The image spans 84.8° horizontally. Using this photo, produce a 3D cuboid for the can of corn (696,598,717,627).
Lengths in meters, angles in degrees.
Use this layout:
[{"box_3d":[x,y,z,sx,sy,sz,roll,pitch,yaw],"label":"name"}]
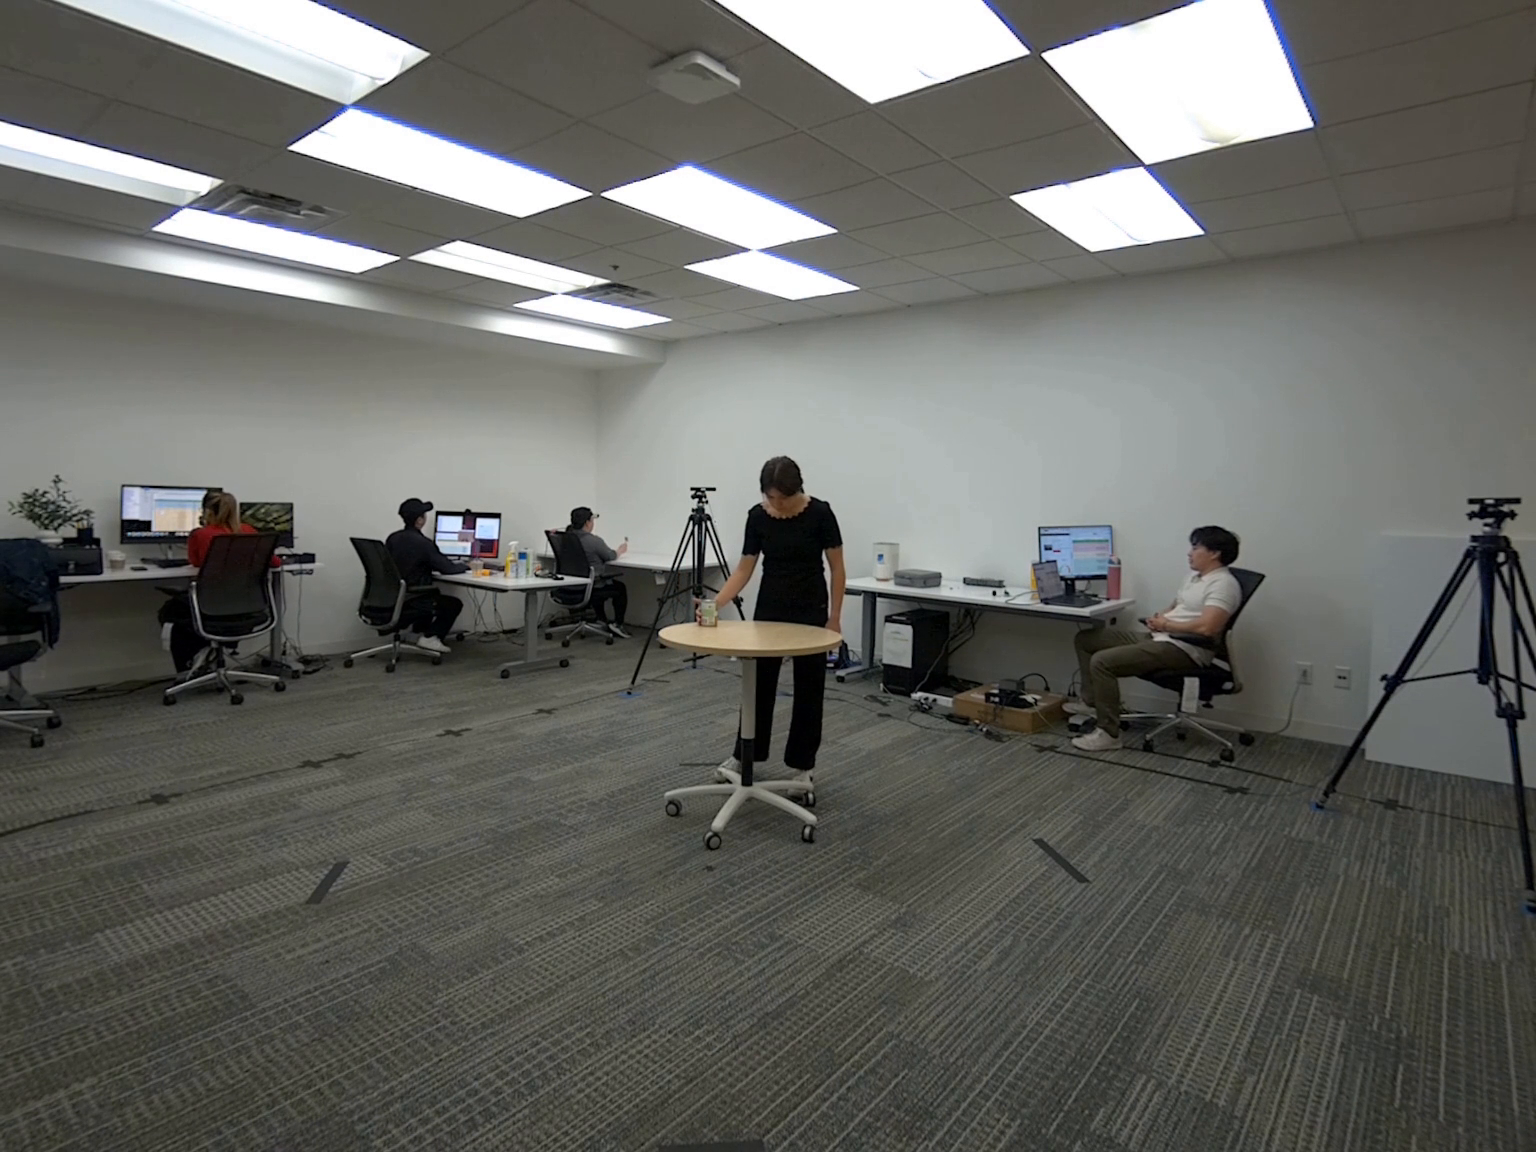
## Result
[{"box_3d":[-0.279,0.161,3.778,0.074,0.111,0.074,2,1,-2],"label":"can of corn"}]
